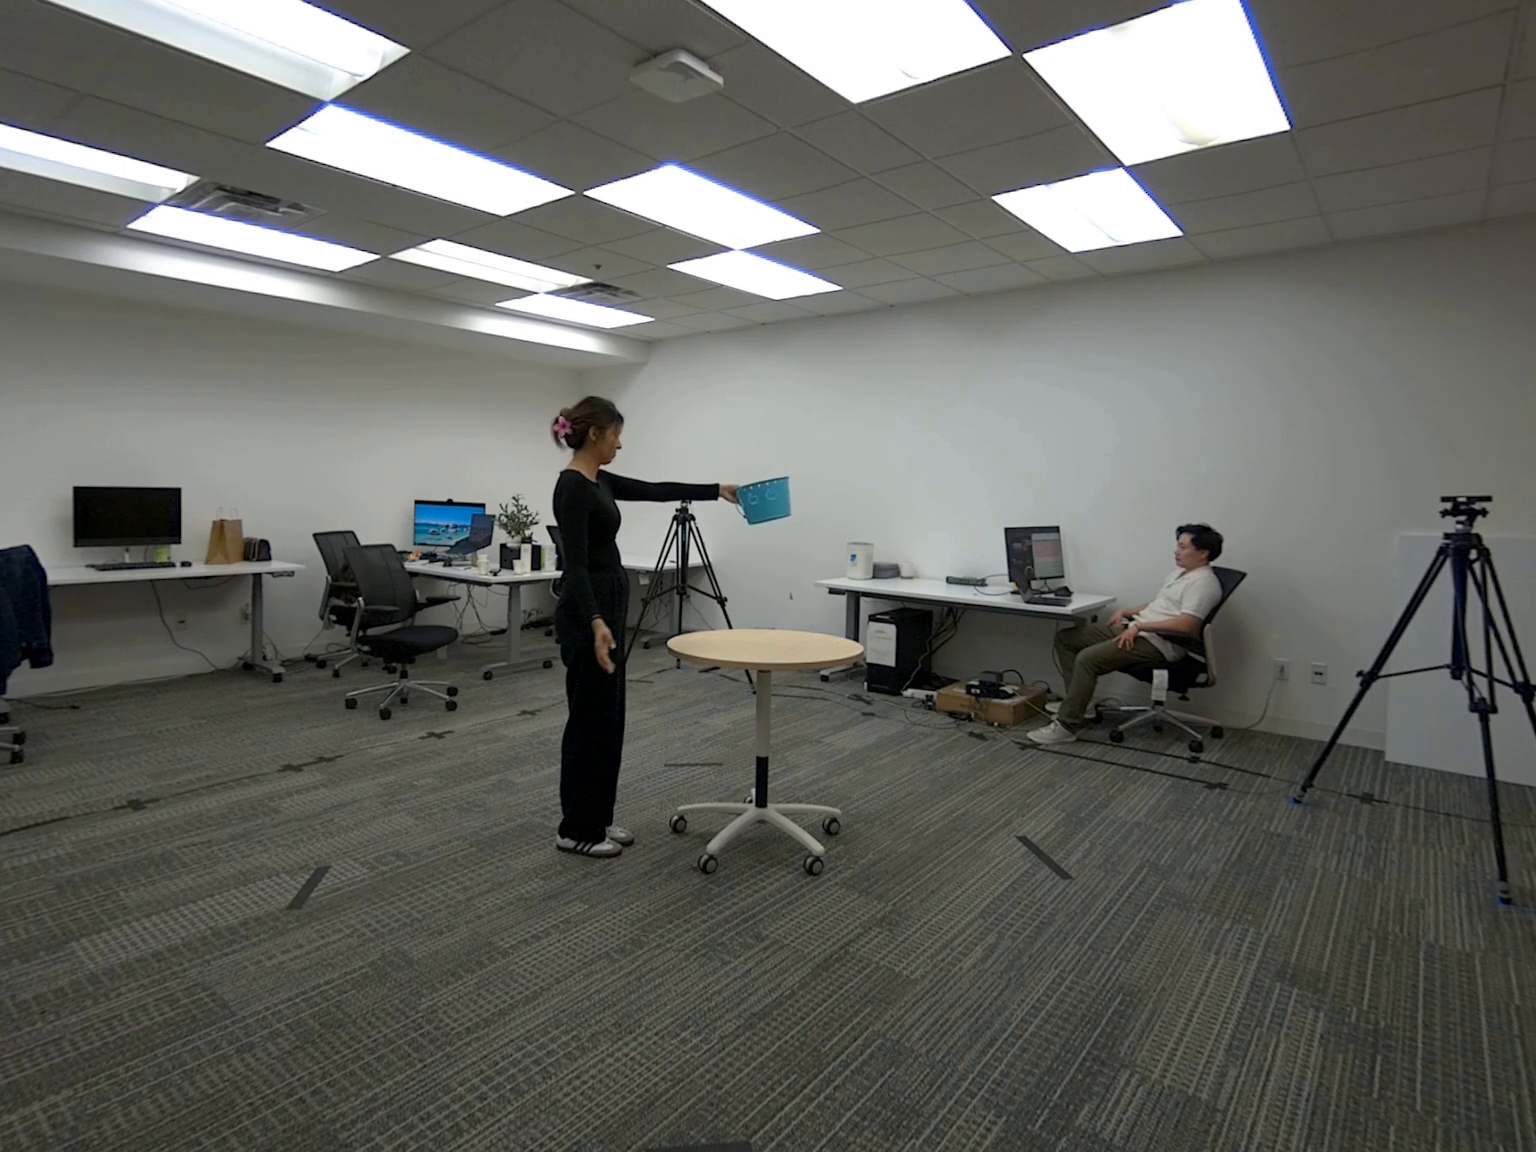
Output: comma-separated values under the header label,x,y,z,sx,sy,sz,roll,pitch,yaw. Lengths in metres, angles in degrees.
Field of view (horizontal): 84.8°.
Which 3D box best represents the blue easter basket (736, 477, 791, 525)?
label,x,y,z,sx,sy,sz,roll,pitch,yaw
blue easter basket,-0.024,-0.306,3.476,0.243,0.156,0.243,-11,0,-2
